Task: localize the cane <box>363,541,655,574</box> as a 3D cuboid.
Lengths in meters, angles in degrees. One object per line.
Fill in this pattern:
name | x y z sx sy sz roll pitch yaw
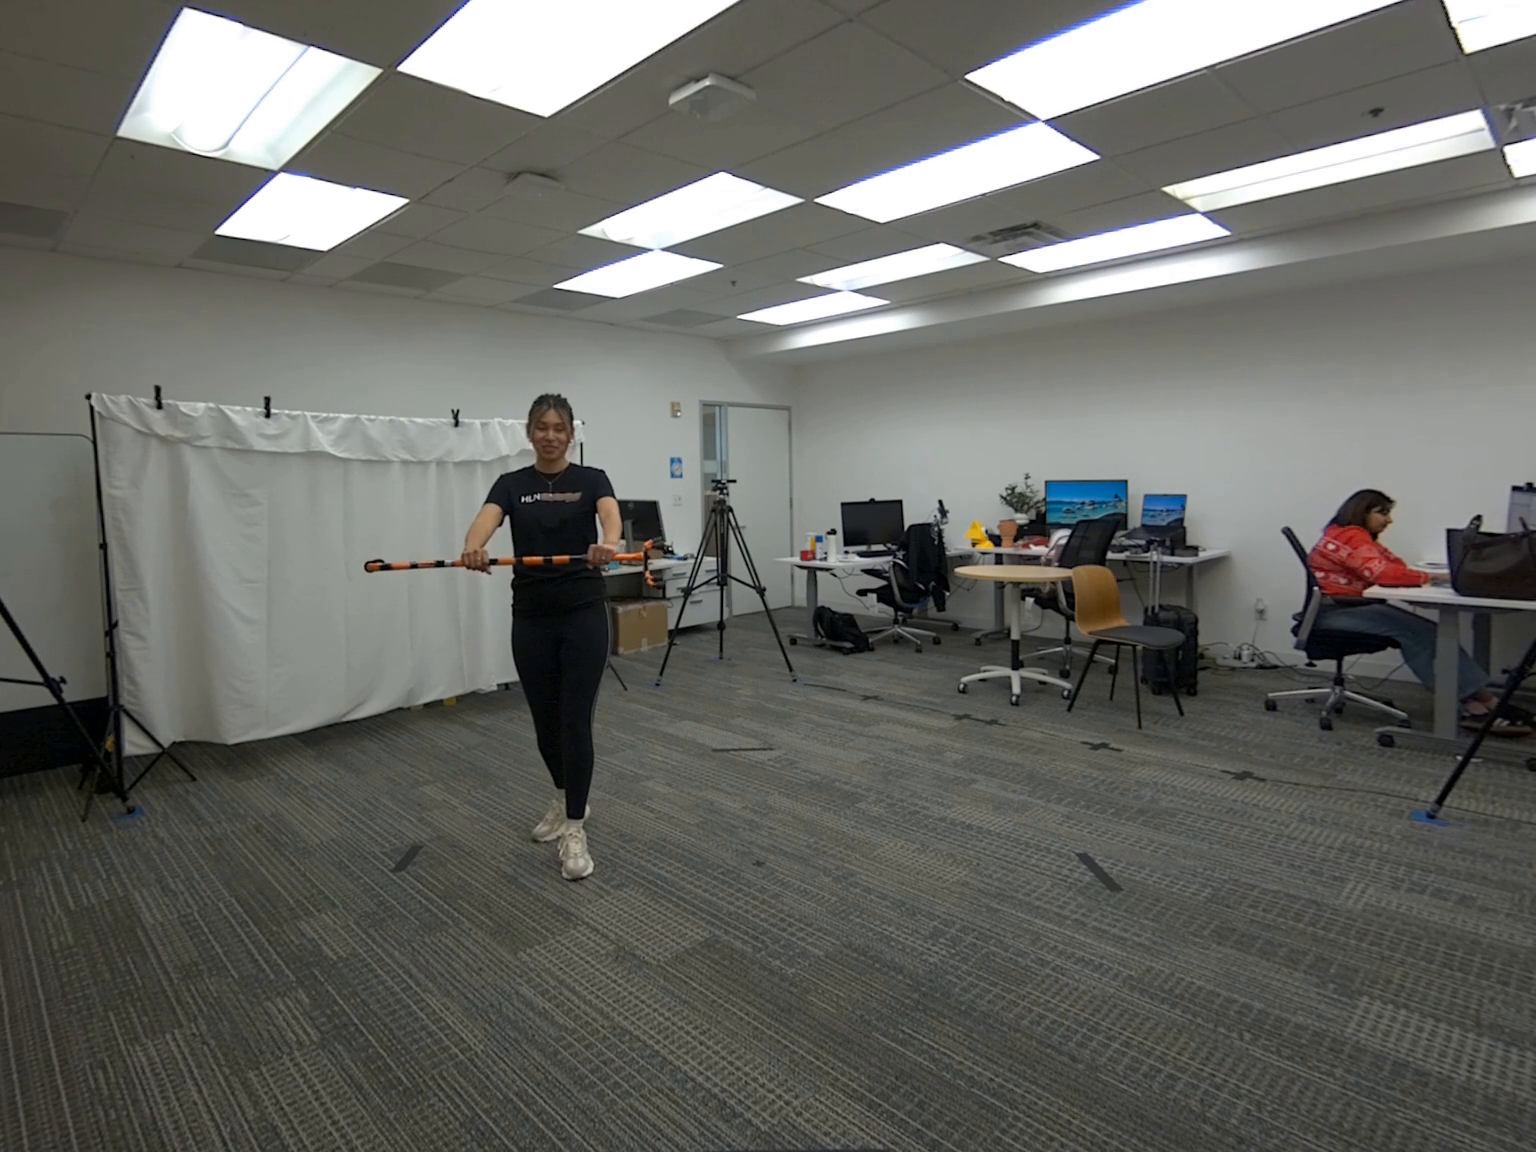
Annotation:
cane | -0.782 -0.023 2.671 0.905 0.151 0.208 -1 5 -3
